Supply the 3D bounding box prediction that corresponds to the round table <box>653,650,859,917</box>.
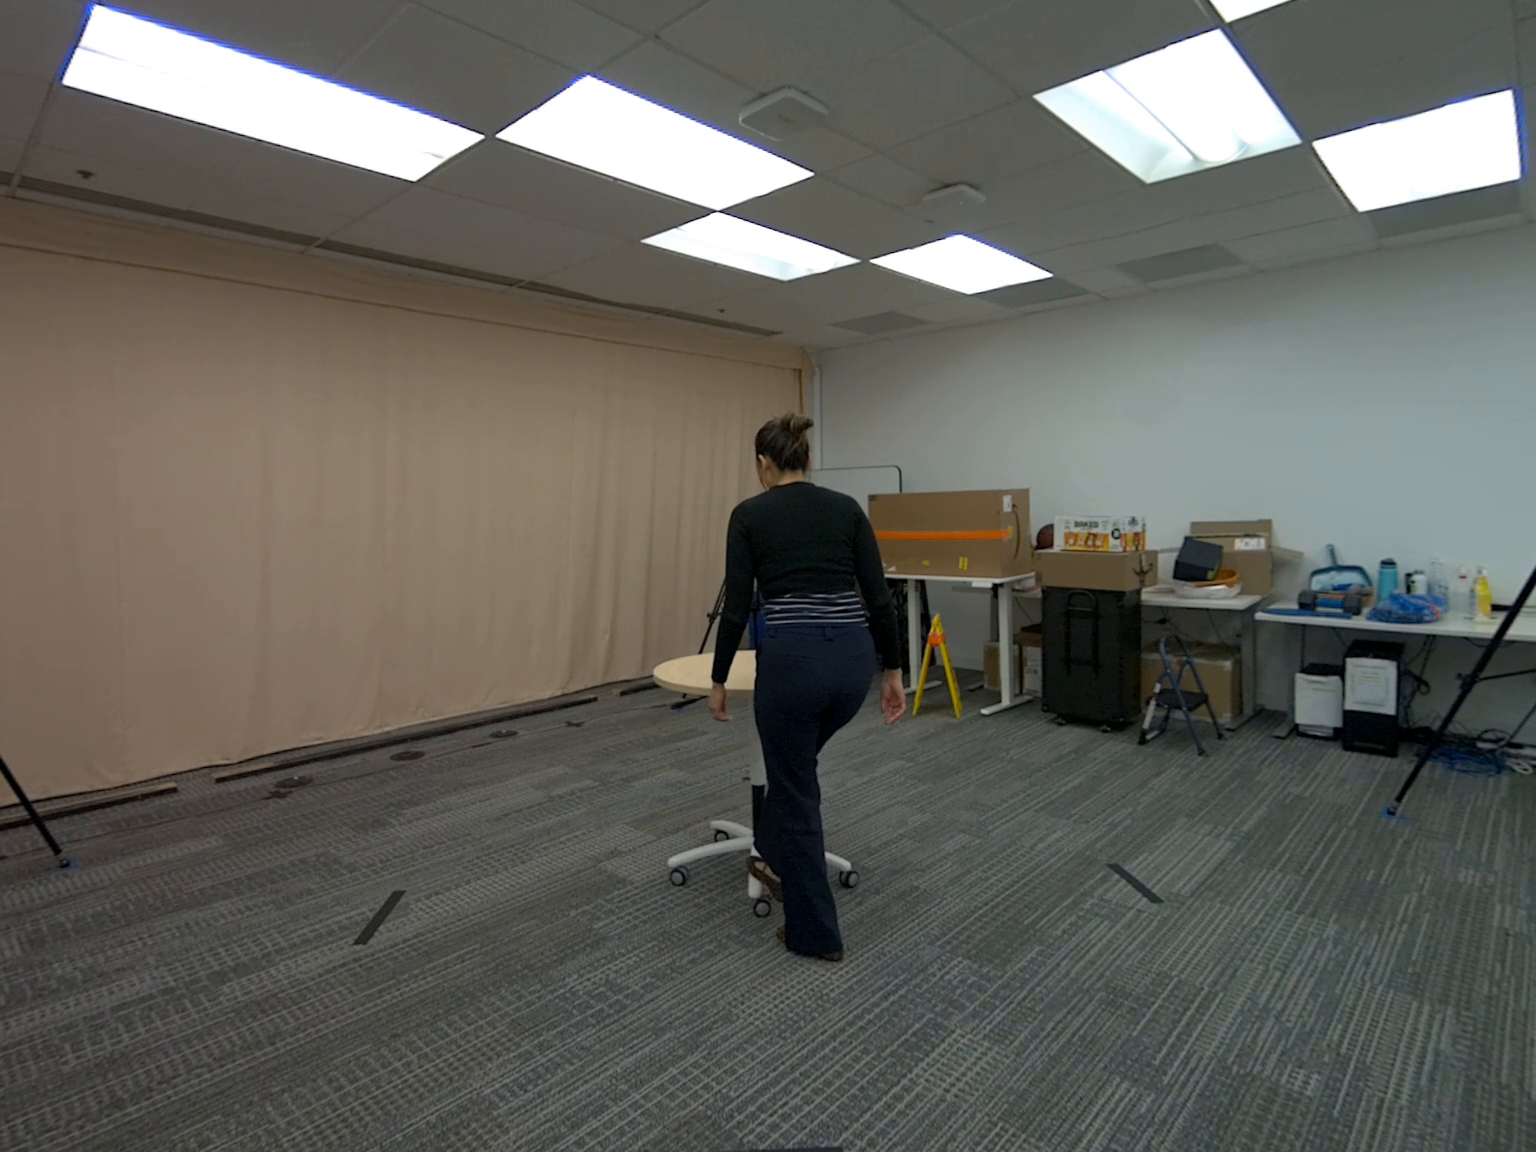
[{"bbox_3d":[-0.030,0.733,3.164,0.763,0.792,0.766,-2,3,-2],"label":"round table"}]
